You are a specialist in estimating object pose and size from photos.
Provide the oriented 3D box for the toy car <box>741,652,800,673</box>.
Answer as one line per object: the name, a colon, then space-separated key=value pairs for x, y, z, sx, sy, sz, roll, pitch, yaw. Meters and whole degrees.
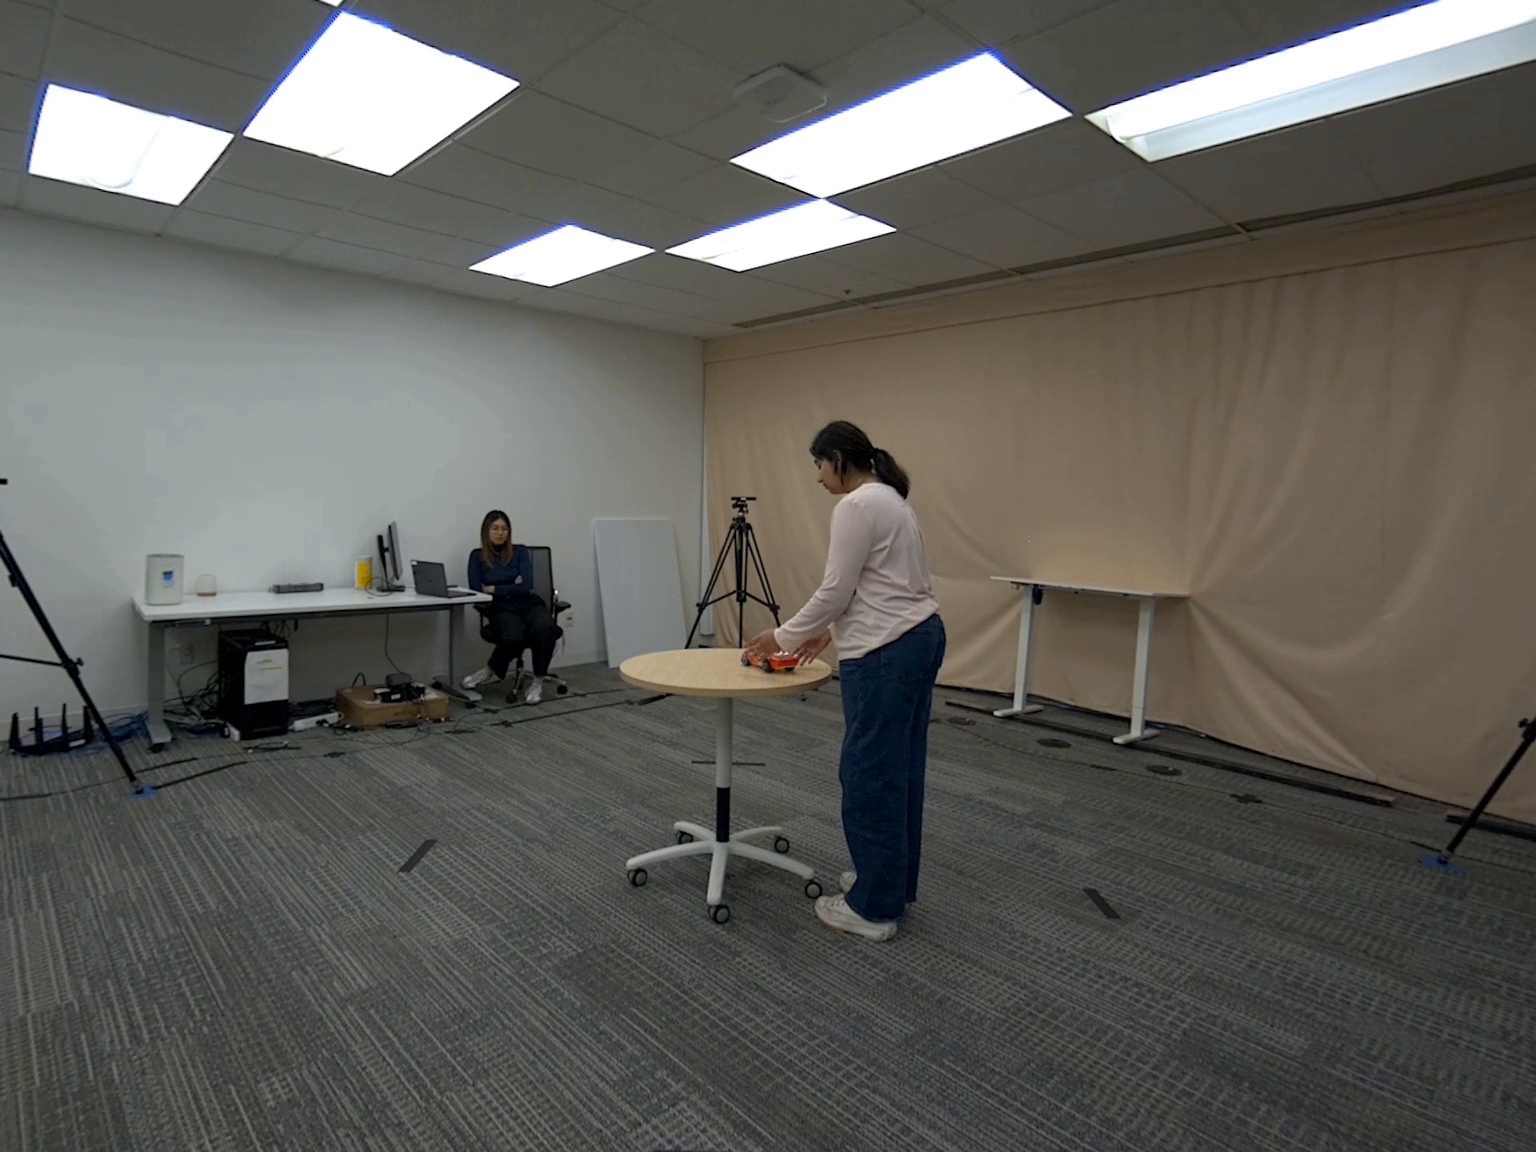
toy car: x=0.008 y=0.301 z=3.016 sx=0.127 sy=0.083 sz=0.258 roll=-2 pitch=-5 yaw=-32
